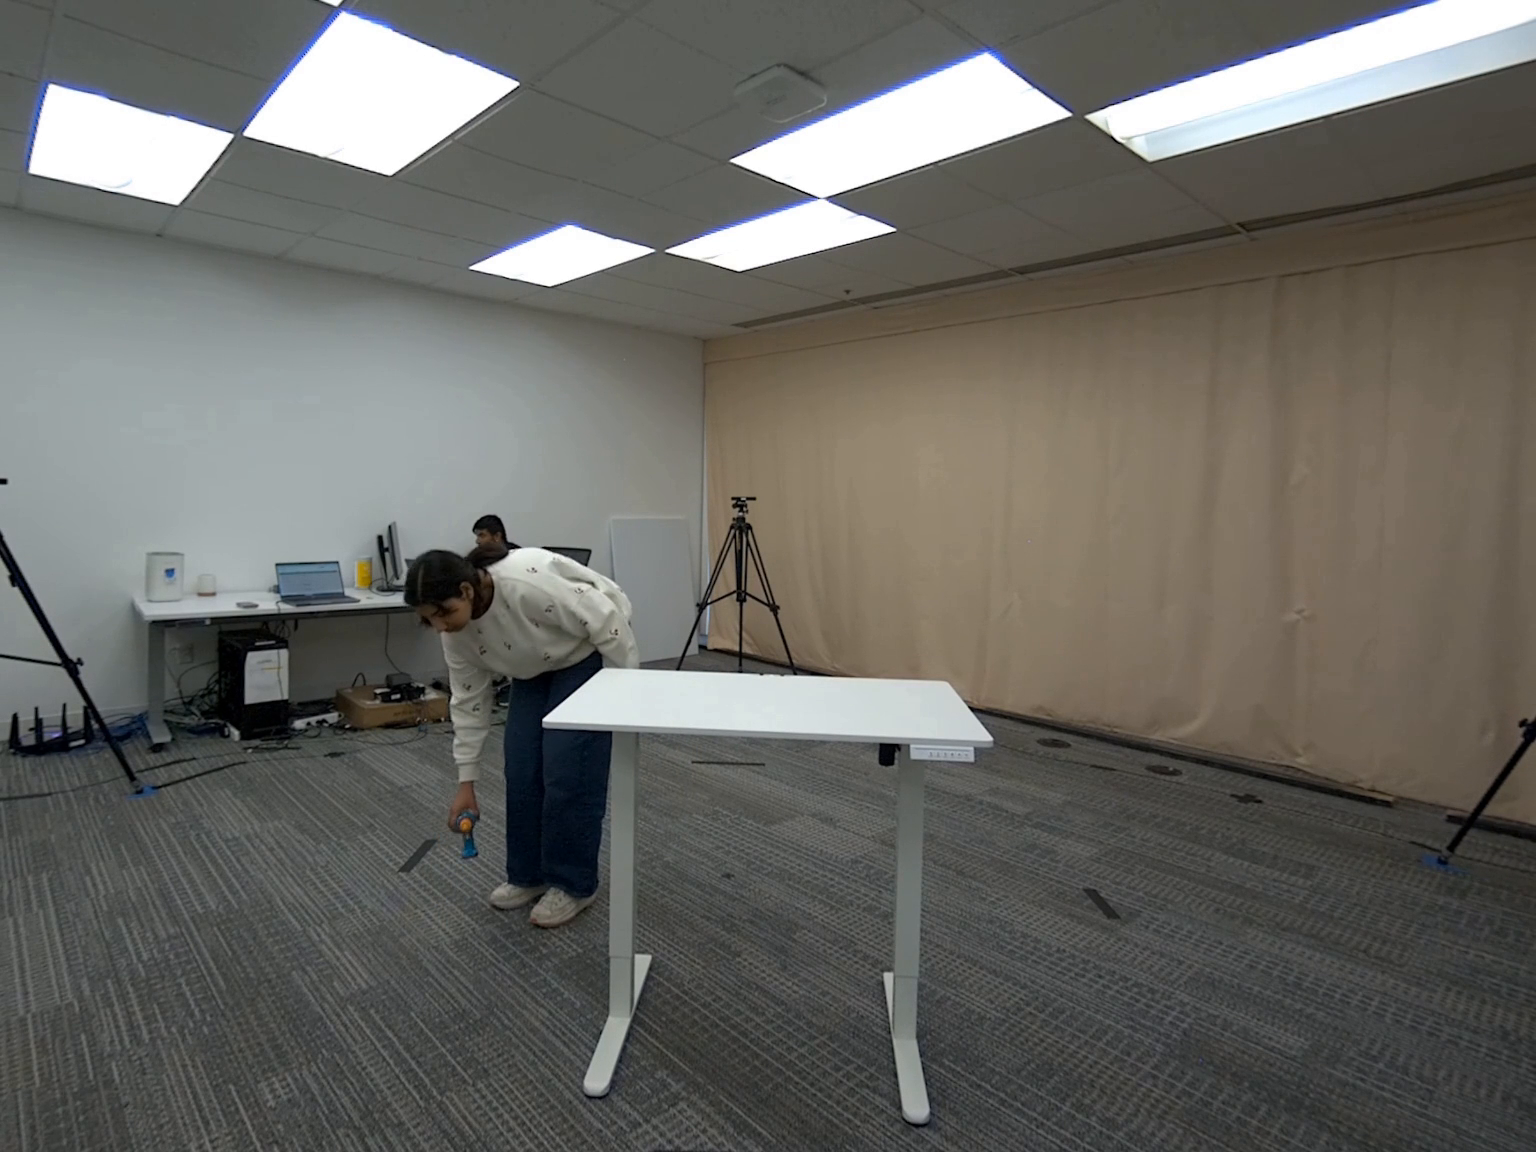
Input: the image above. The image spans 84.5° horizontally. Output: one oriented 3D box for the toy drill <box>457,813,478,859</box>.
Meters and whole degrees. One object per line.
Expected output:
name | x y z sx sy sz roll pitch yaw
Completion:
toy drill | -0.965 0.823 2.665 0.061 0.146 0.170 -7 -3 -10
